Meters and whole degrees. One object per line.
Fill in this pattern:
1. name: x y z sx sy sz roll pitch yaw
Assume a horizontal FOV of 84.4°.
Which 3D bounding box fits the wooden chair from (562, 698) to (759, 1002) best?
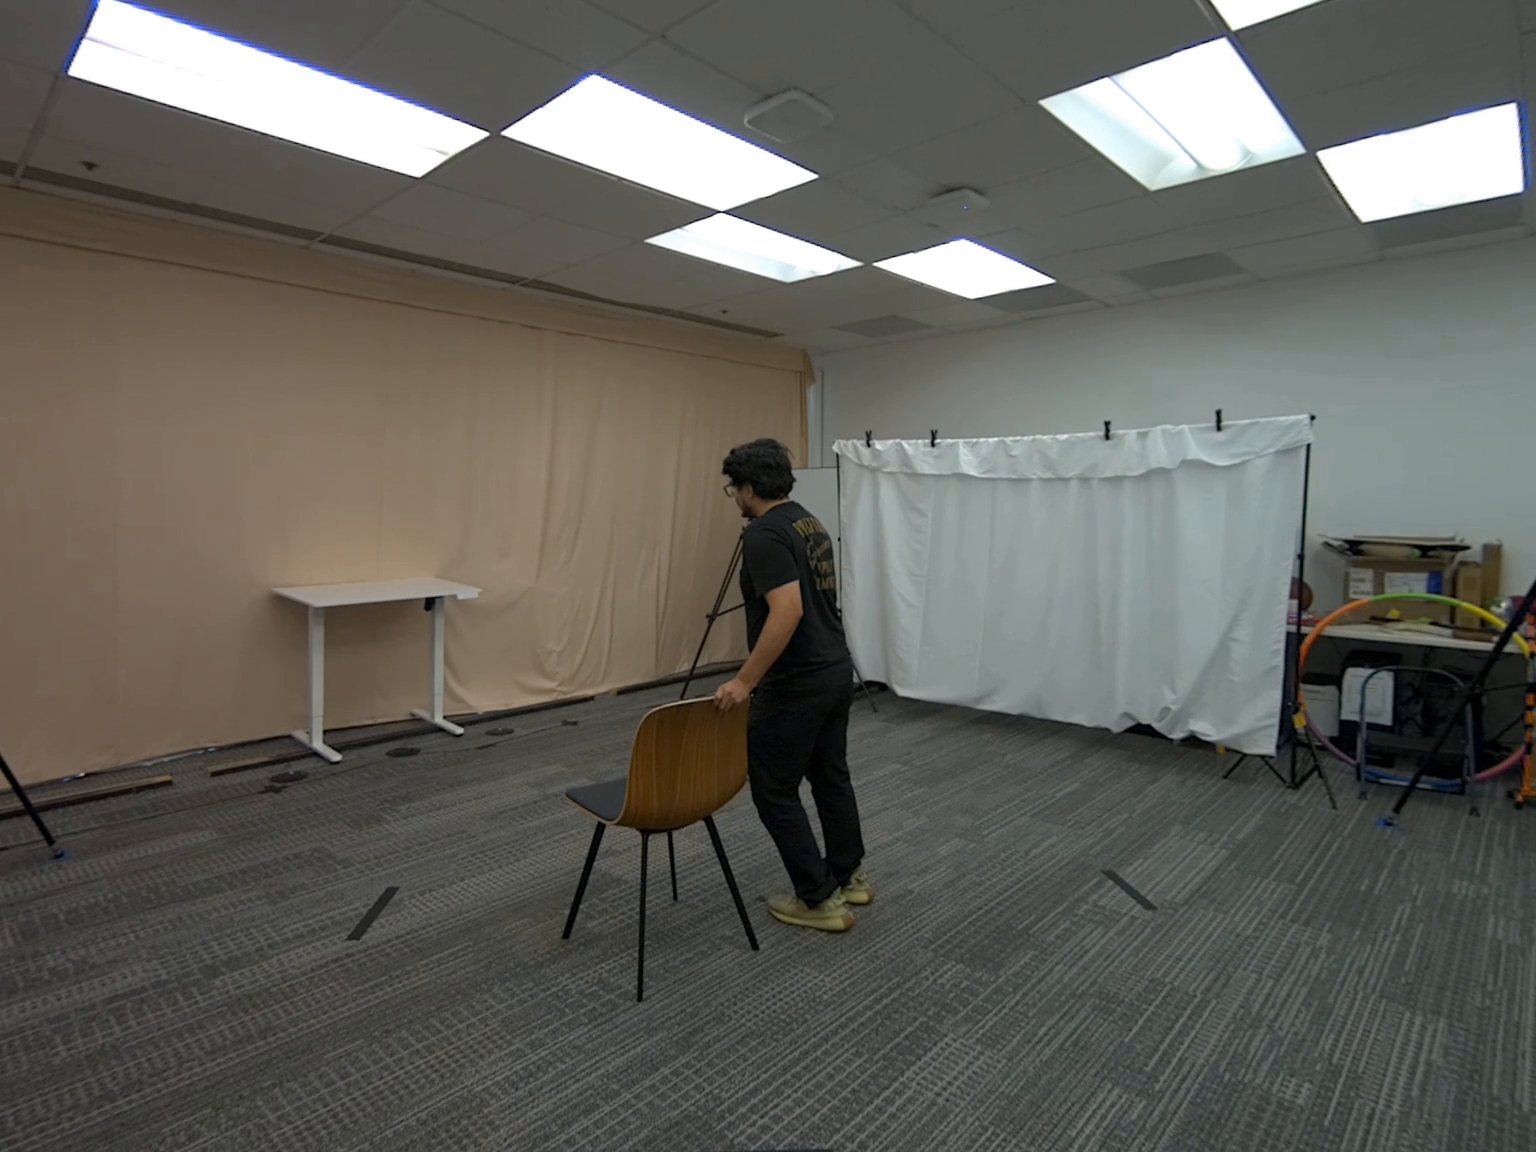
1. wooden chair: -0.354 0.749 2.652 0.463 0.874 0.541 -2 8 -40
